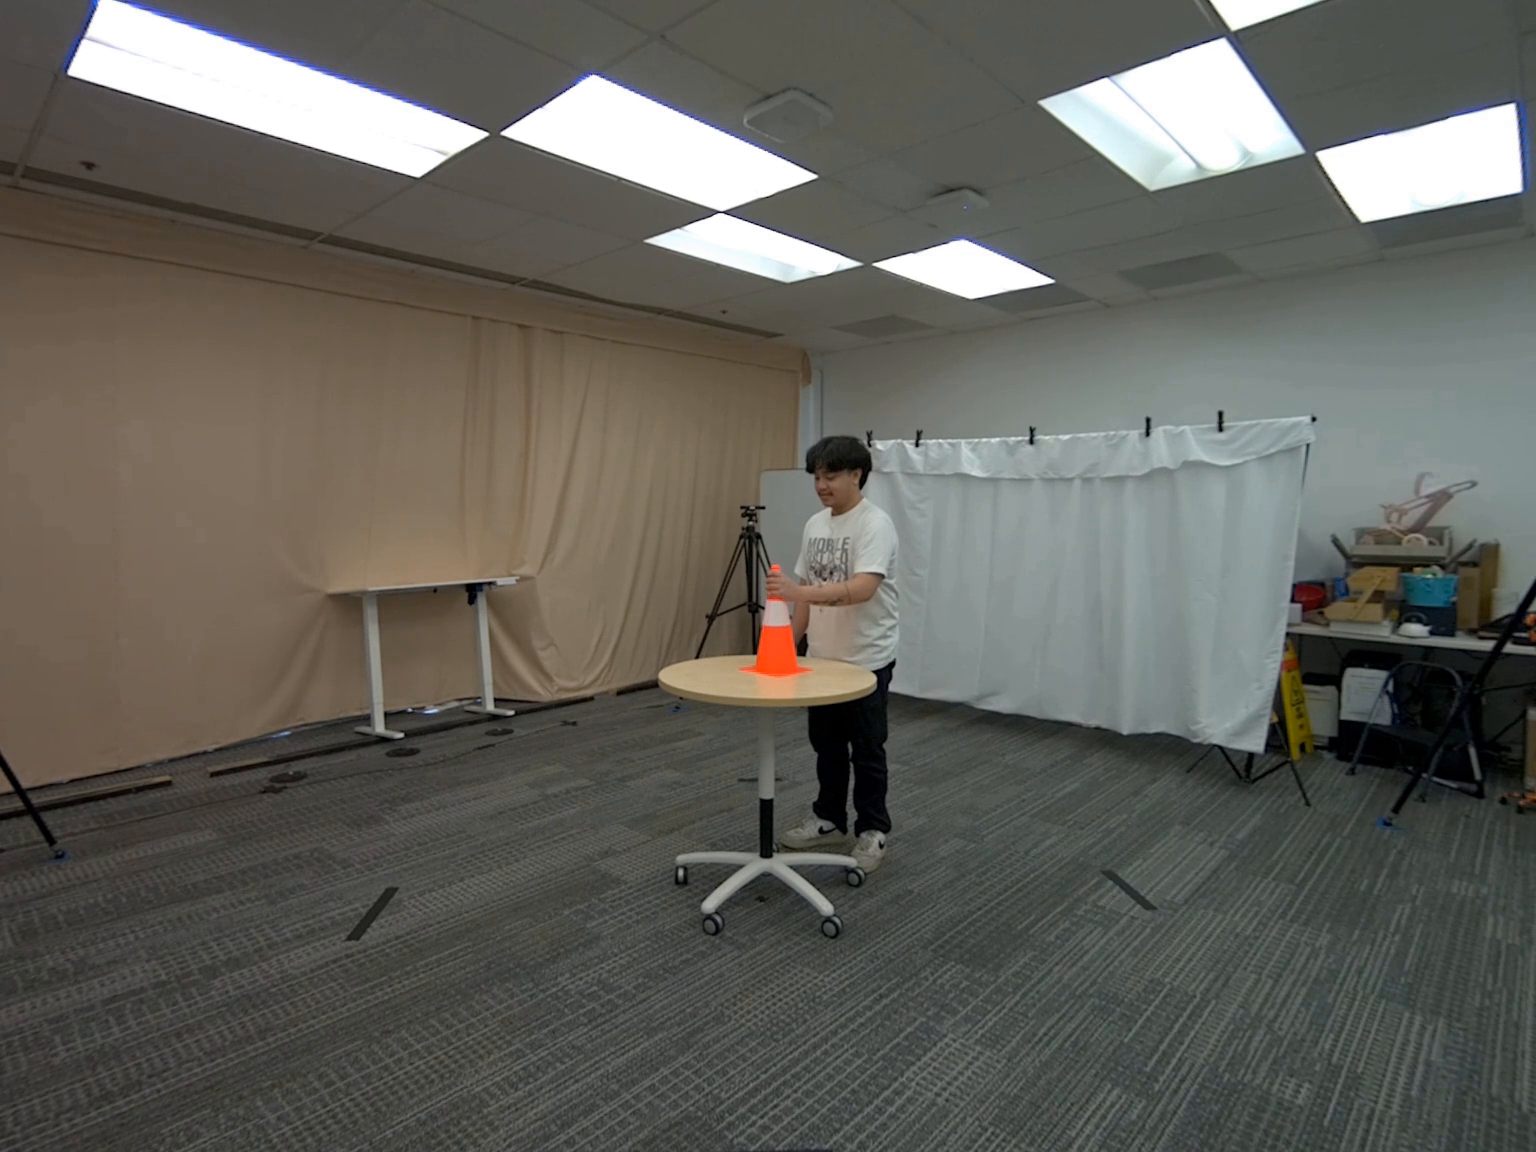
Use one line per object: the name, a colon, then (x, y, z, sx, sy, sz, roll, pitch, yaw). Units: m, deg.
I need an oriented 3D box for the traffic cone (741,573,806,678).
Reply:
traffic cone: (0.029, 0.153, 3.048, 0.212, 0.383, 0.197, 2, 3, 42)
